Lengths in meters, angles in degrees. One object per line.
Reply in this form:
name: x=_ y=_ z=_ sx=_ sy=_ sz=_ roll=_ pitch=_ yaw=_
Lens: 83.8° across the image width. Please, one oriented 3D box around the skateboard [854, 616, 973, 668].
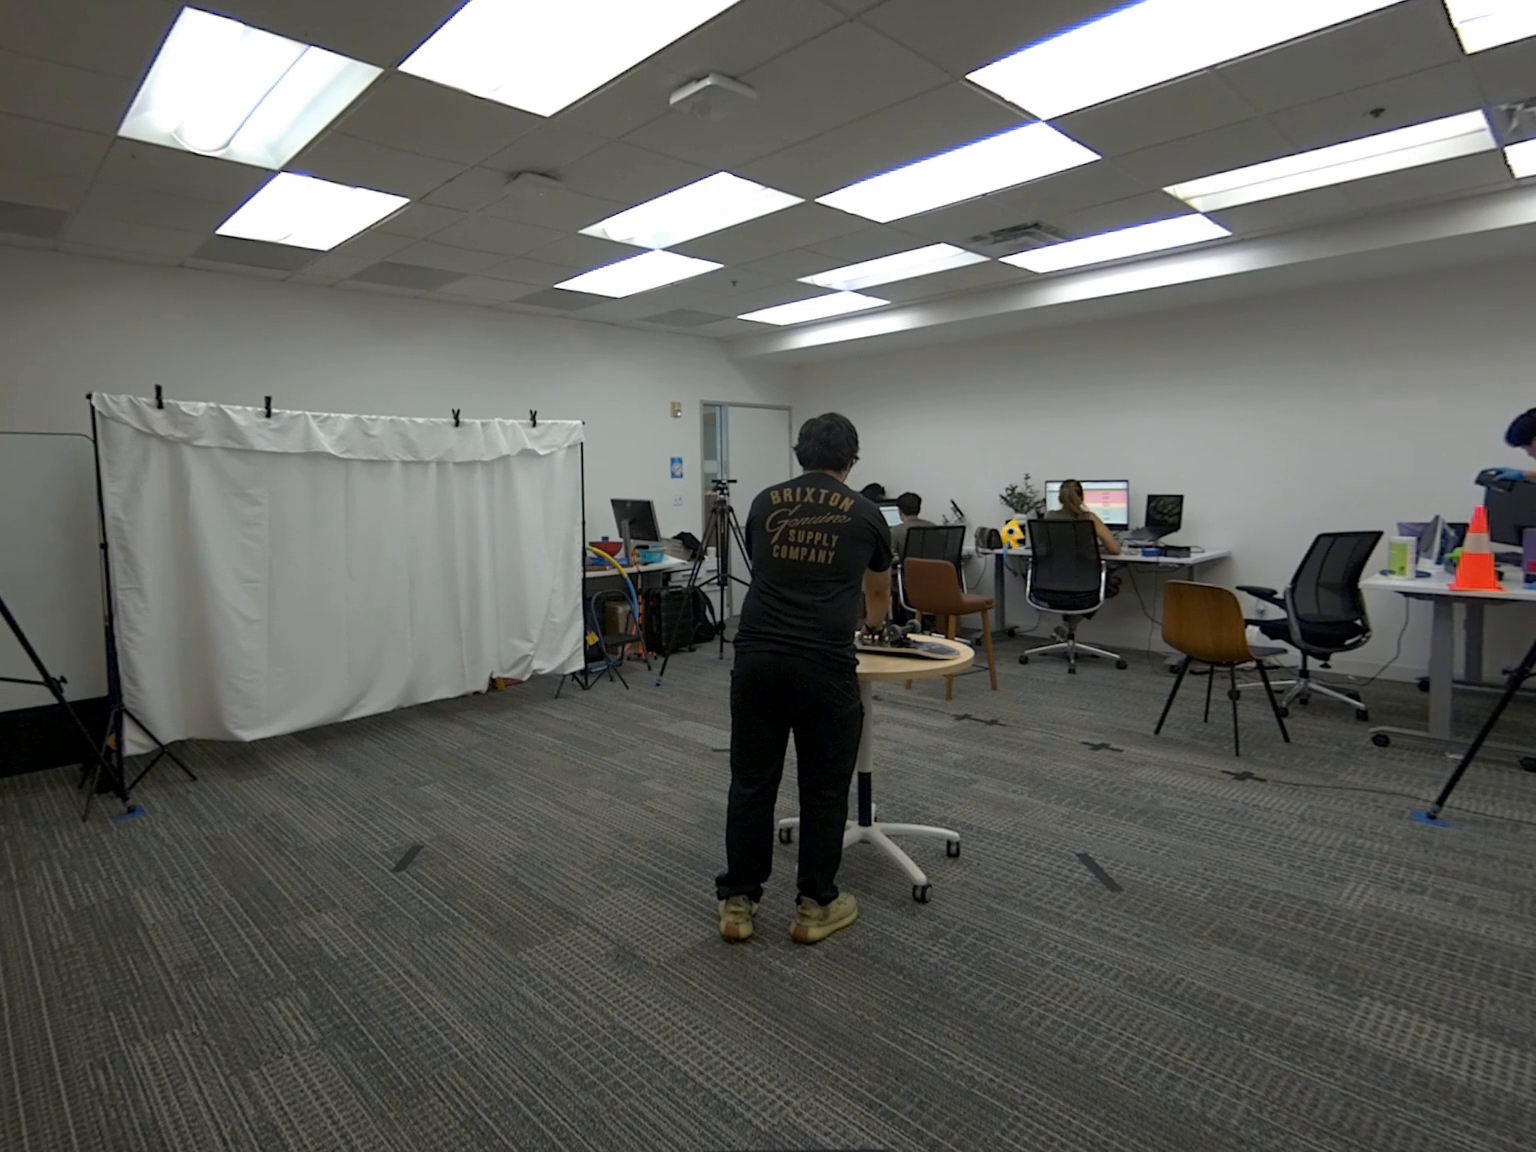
skateboard: x=0.323 y=0.216 z=3.108 sx=0.808 sy=0.110 sz=0.189 roll=3 pitch=7 yaw=39
